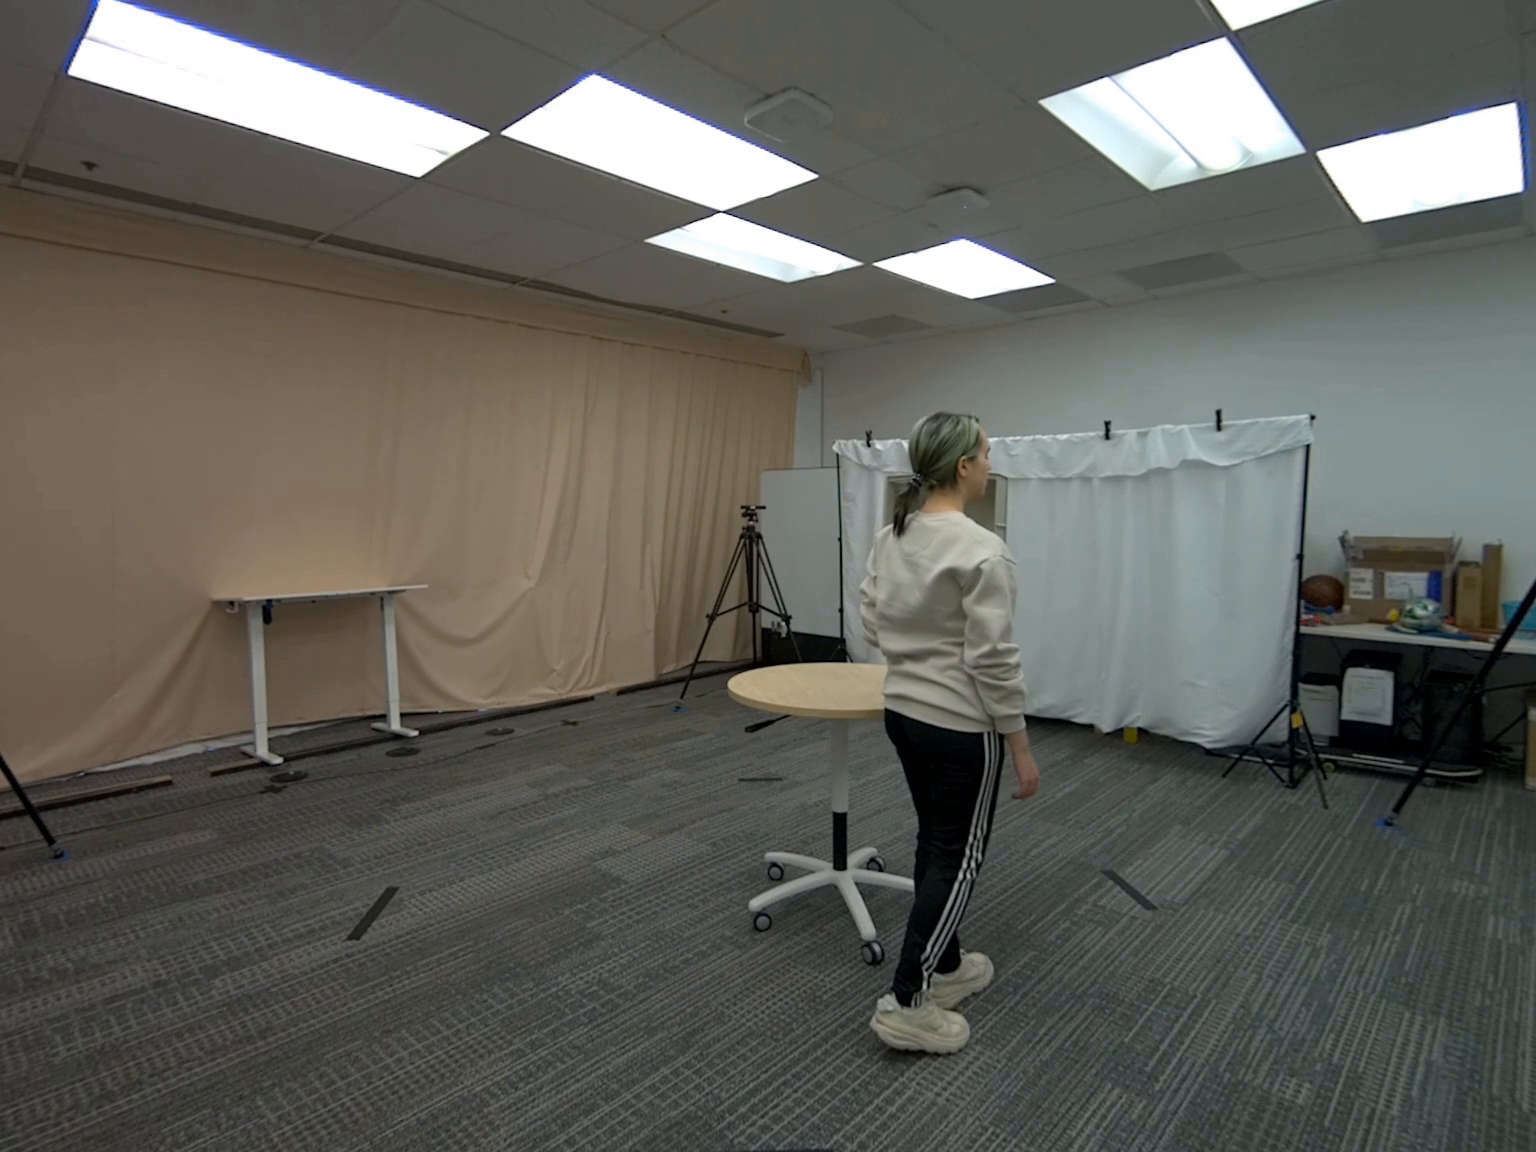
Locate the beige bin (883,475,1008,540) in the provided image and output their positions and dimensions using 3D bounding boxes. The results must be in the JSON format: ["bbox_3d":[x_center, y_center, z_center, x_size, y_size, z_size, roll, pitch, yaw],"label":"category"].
[{"bbox_3d":[0.573,-0.114,2.686,0.183,0.422,0.389,3,-1,-38],"label":"beige bin"}]
